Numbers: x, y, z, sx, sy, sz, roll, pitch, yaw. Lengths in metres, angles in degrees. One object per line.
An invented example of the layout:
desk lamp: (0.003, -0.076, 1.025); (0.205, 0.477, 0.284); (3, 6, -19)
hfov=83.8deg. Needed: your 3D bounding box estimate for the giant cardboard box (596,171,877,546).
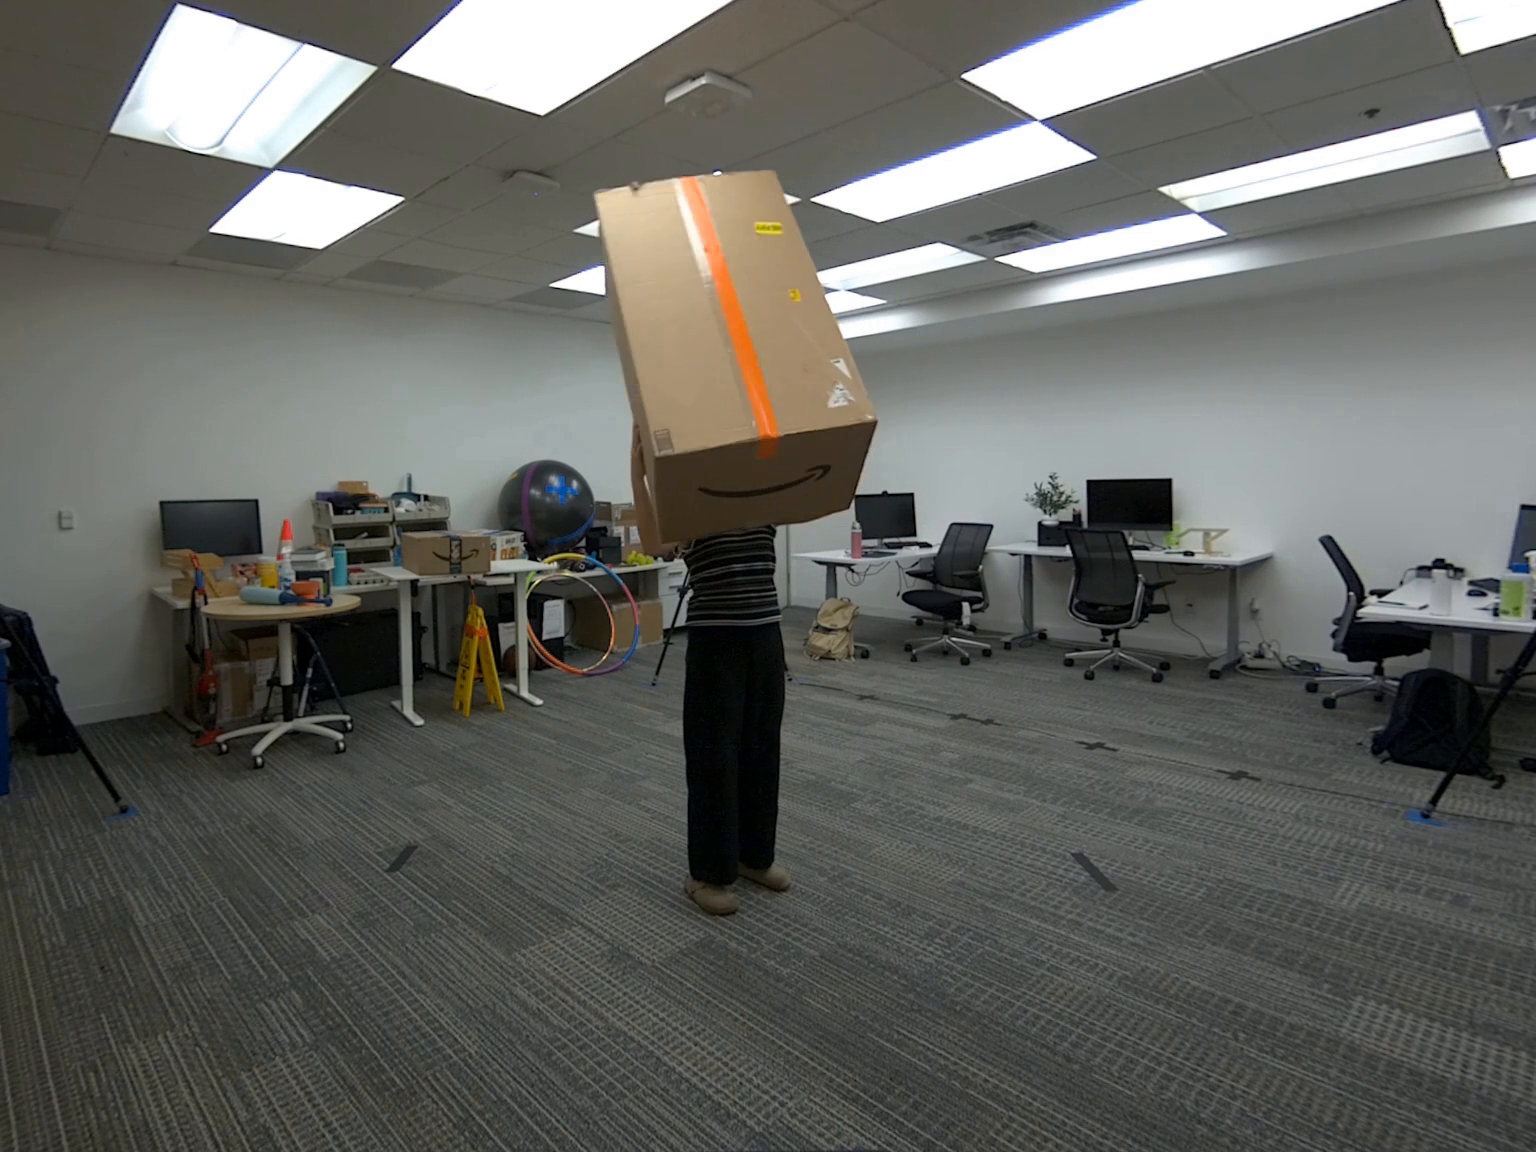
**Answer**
giant cardboard box: (-0.136, -0.675, 2.558); (0.573, 1.056, 0.417); (-11, -29, -11)
